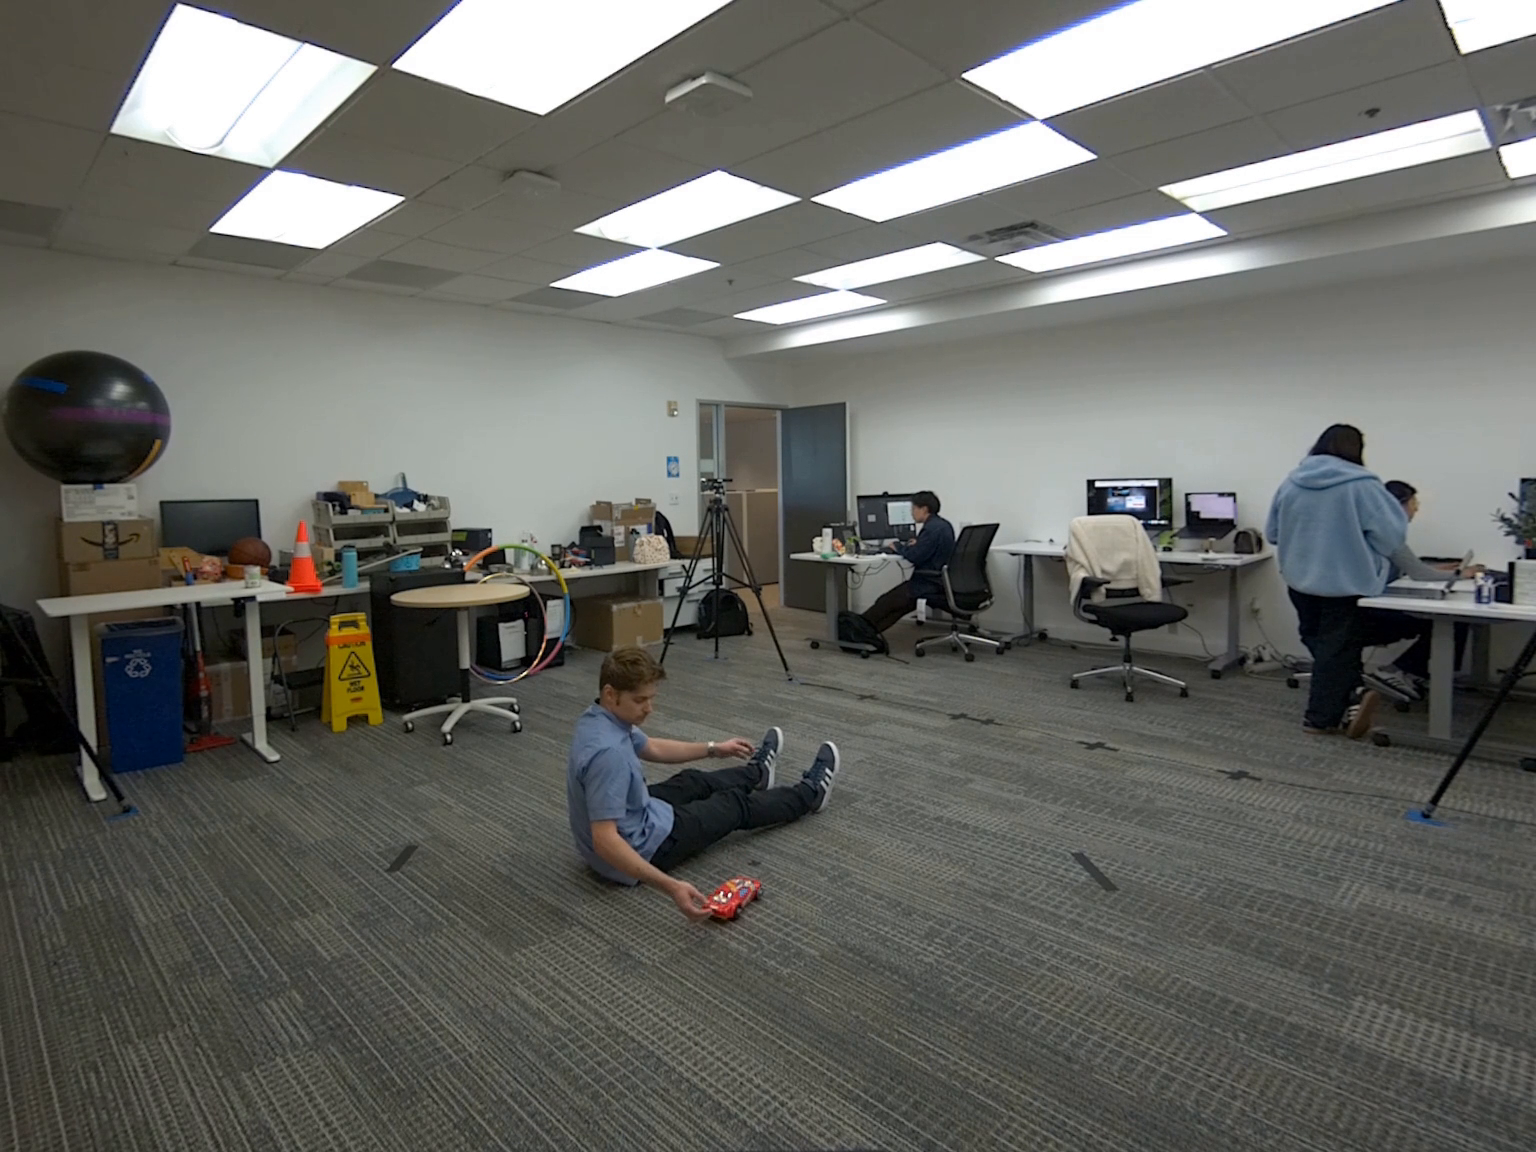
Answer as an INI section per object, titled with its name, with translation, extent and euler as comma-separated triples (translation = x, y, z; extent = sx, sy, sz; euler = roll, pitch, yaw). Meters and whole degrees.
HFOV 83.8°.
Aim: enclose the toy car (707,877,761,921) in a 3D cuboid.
[toy car]
translation = -0.115, 1.056, 2.776
extent = 0.133, 0.083, 0.248
euler = 5, -1, 26
